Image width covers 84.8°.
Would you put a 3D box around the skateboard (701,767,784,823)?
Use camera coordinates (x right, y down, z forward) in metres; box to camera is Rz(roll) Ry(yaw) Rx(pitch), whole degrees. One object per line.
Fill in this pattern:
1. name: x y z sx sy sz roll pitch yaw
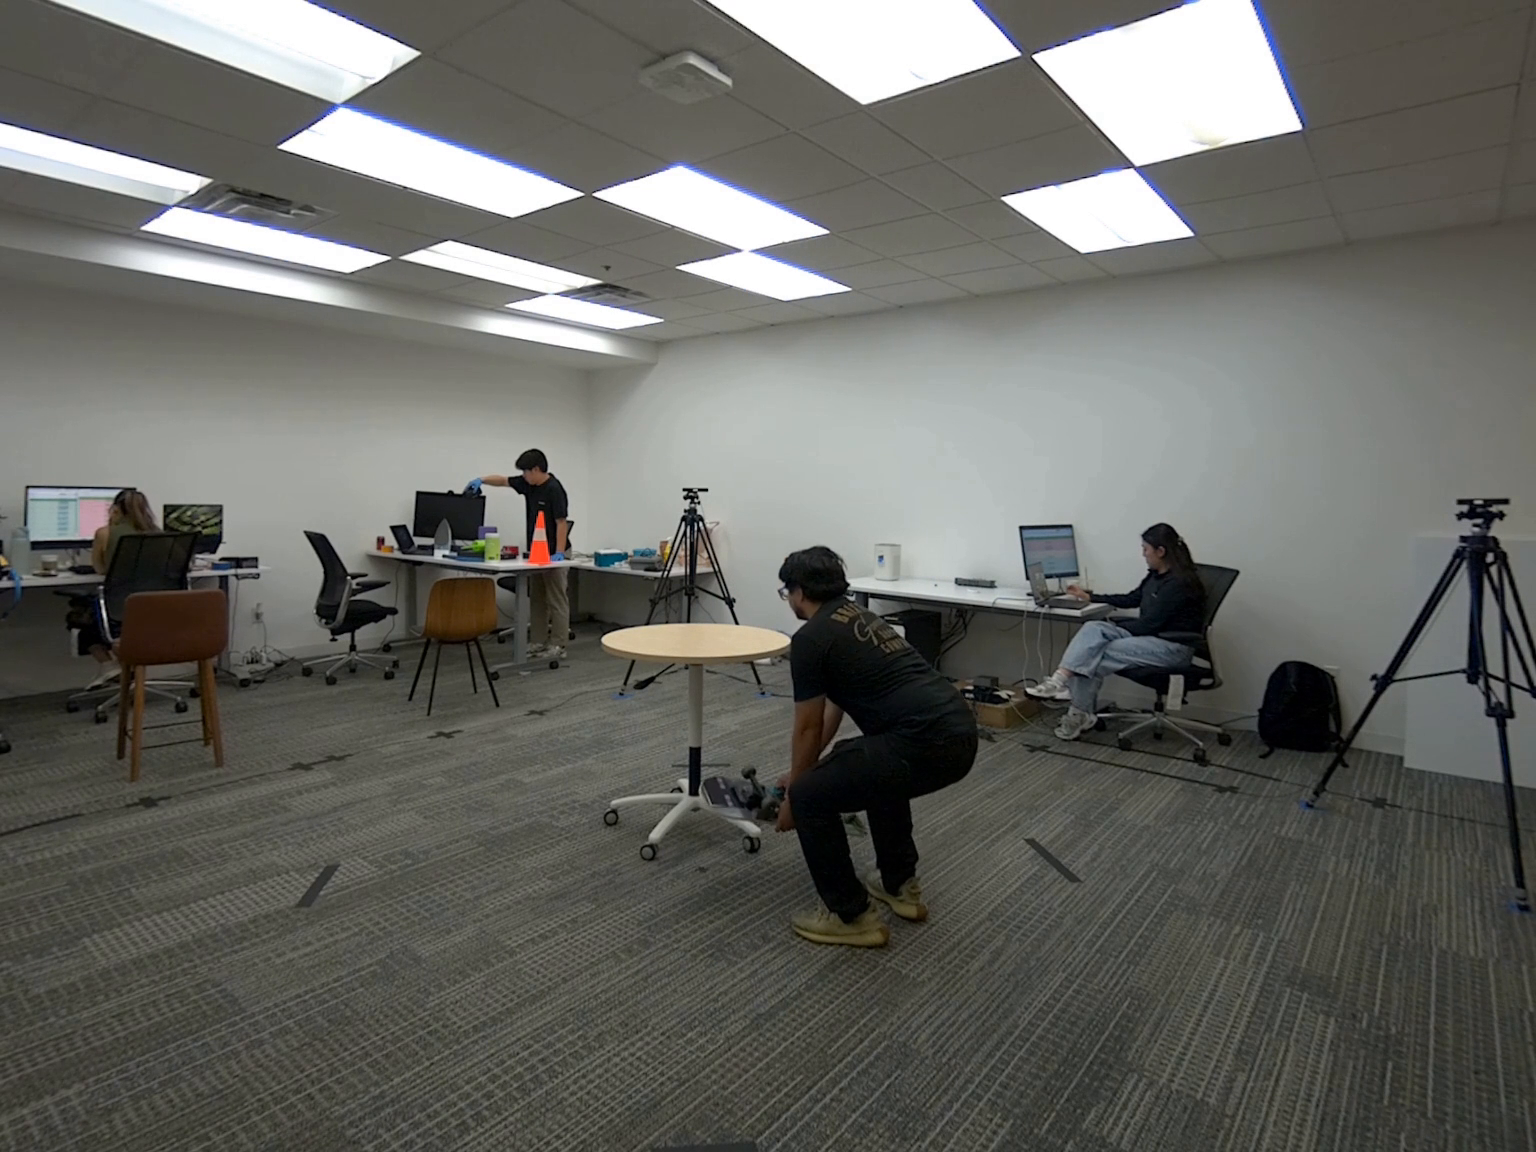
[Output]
1. skateboard: 0.089 0.785 2.969 0.755 0.110 0.201 23 18 -37
